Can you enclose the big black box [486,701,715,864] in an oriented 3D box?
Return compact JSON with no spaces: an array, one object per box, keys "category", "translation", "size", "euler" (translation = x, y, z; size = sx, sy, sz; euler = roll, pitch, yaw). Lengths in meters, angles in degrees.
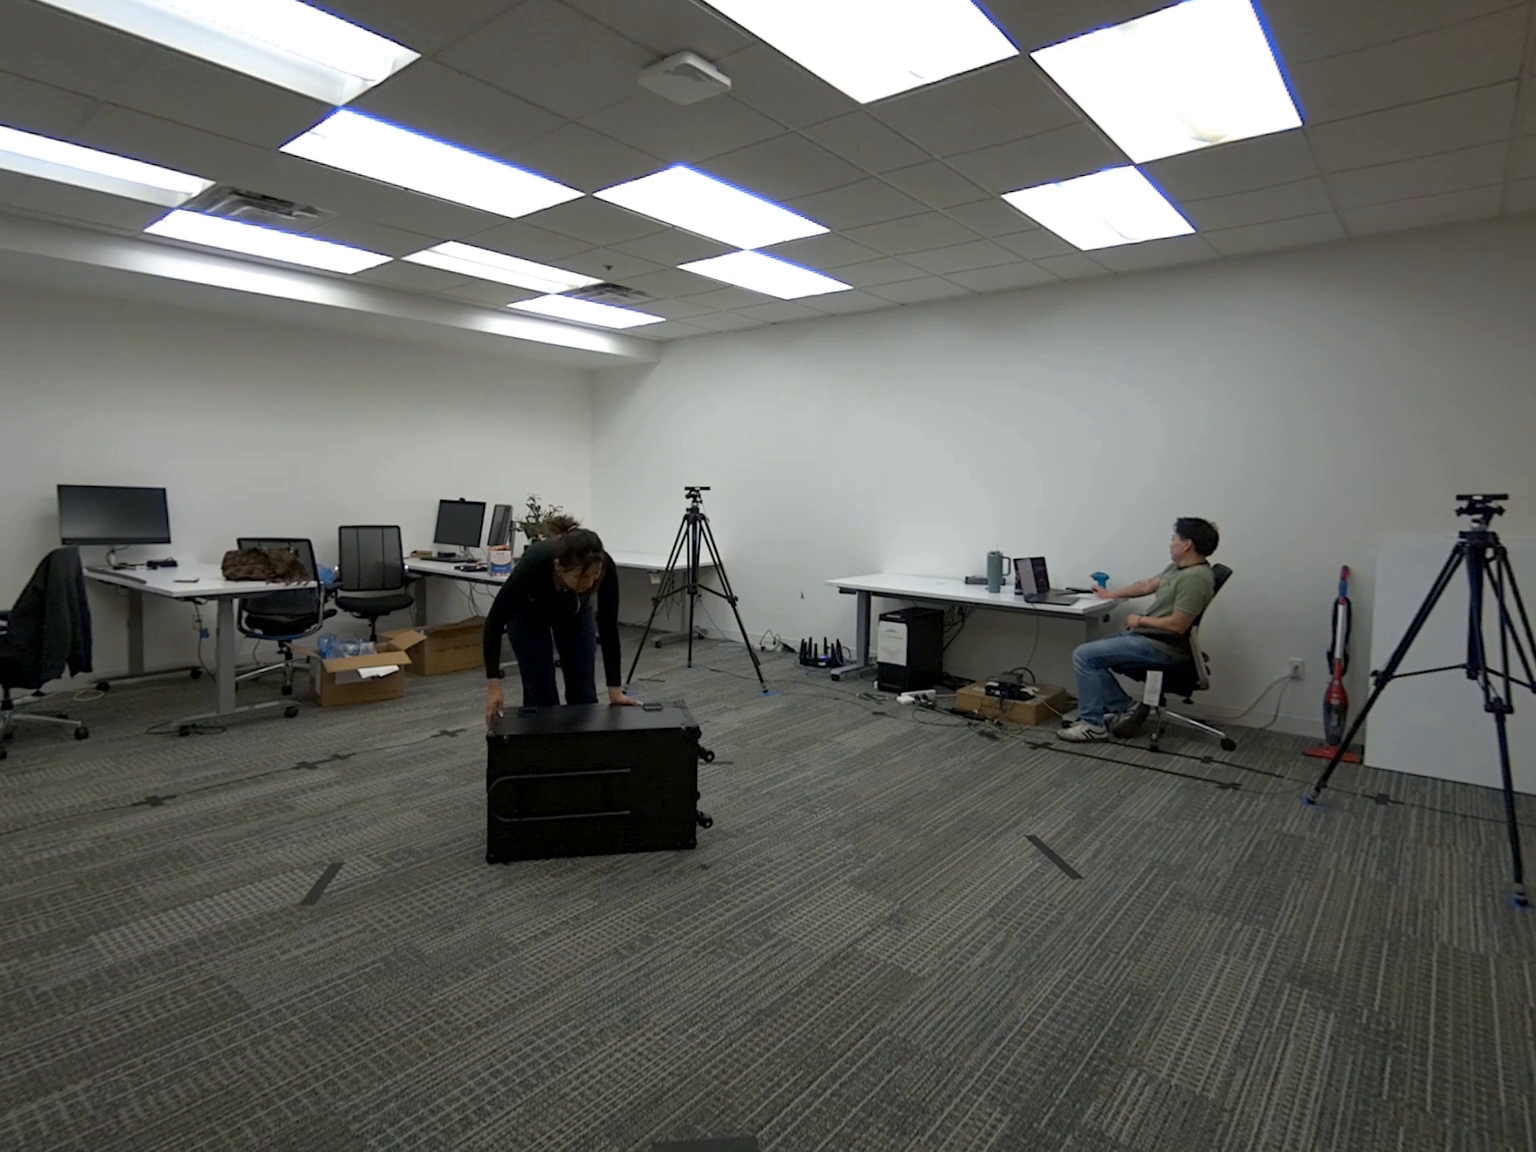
[{"category":"big black box","translation":[-0.664,0.784,3.332],"size":[0.849,0.518,0.404],"euler":[0,7,-13]}]
